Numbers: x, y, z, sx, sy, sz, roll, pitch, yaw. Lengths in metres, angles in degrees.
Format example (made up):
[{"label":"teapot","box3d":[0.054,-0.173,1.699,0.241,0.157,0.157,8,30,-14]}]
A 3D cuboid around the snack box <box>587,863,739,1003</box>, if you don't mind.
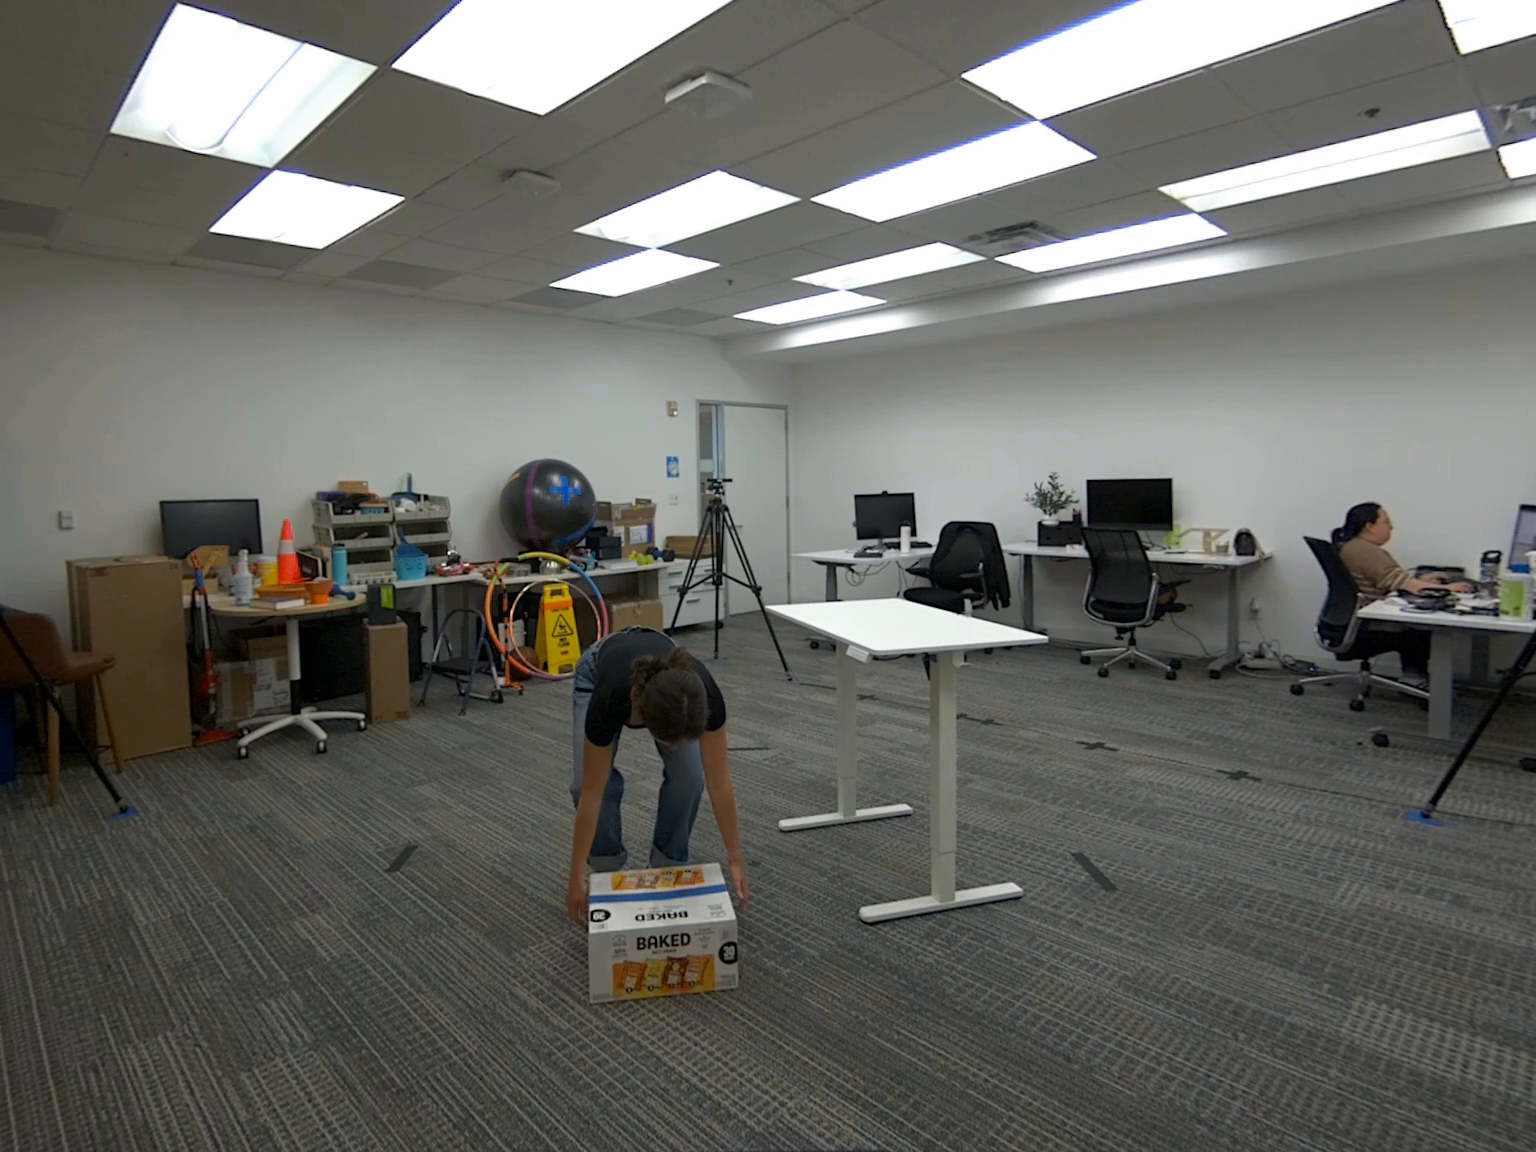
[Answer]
[{"label":"snack box","box3d":[-0.306,1.026,2.470,0.401,0.205,0.345,-3,6,-10]}]
